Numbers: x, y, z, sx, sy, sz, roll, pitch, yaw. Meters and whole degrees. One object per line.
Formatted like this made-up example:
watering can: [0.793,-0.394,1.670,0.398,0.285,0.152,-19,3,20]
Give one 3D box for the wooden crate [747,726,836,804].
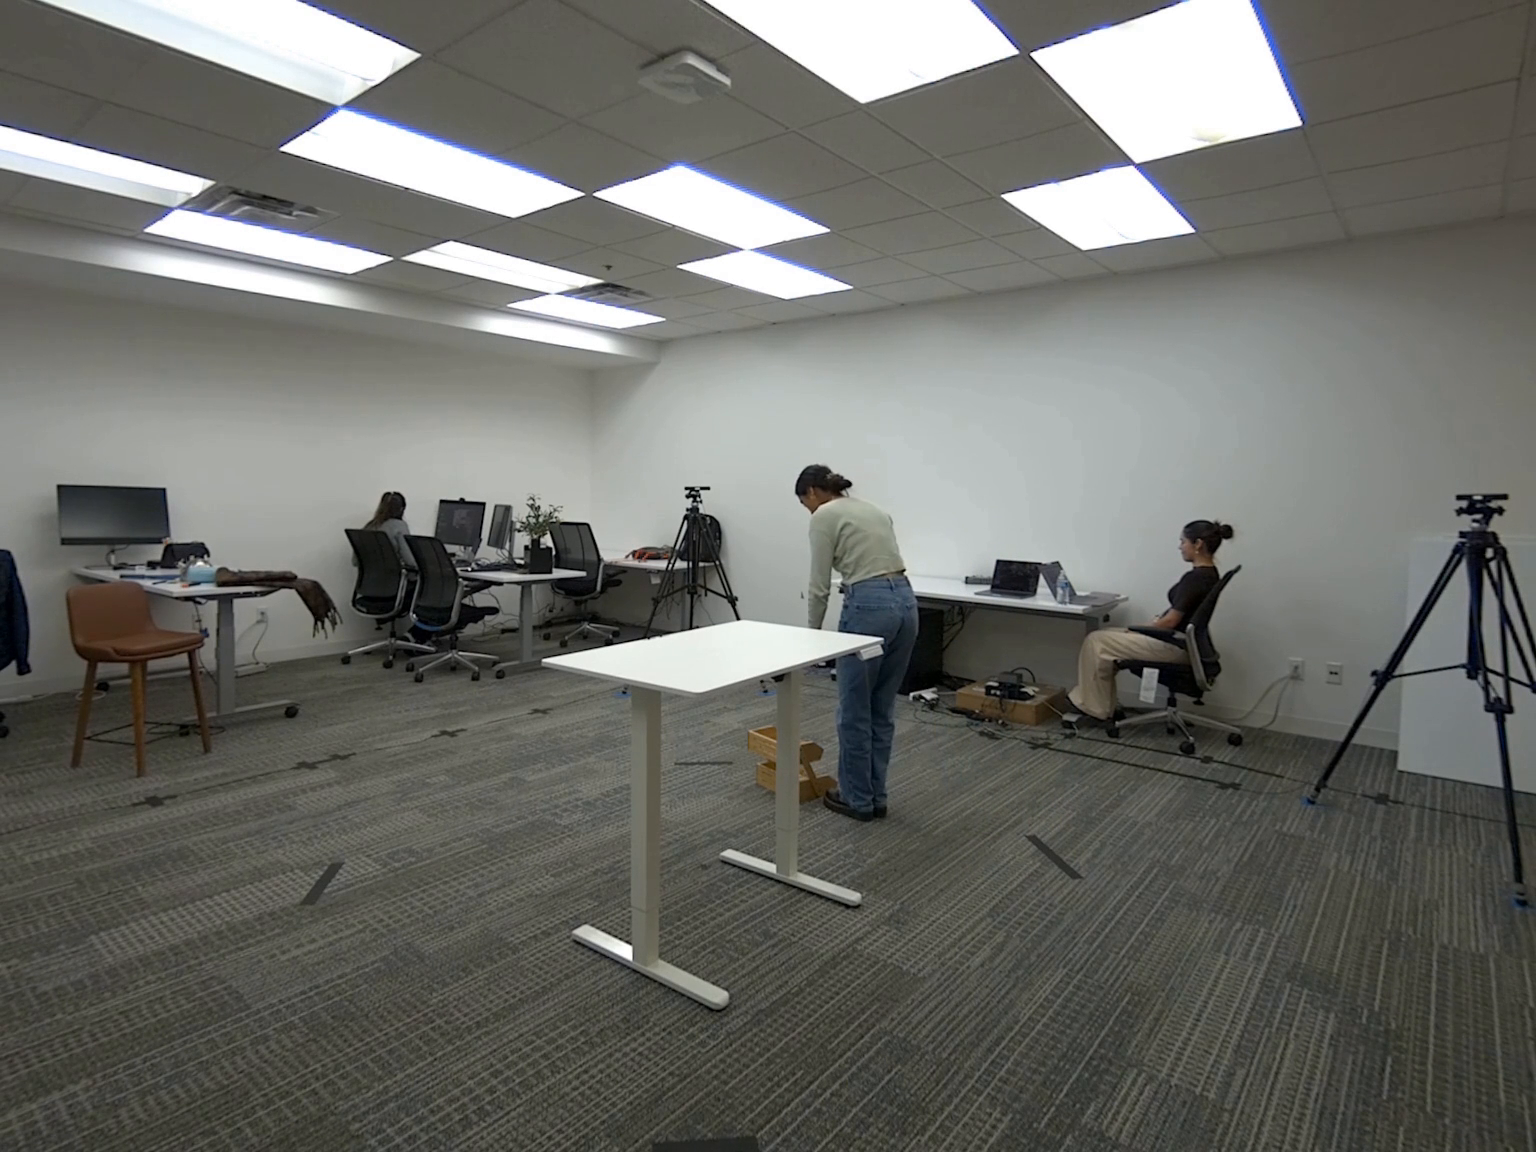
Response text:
wooden crate: [0.107,0.852,3.953,0.293,0.272,0.335,-4,7,-36]
